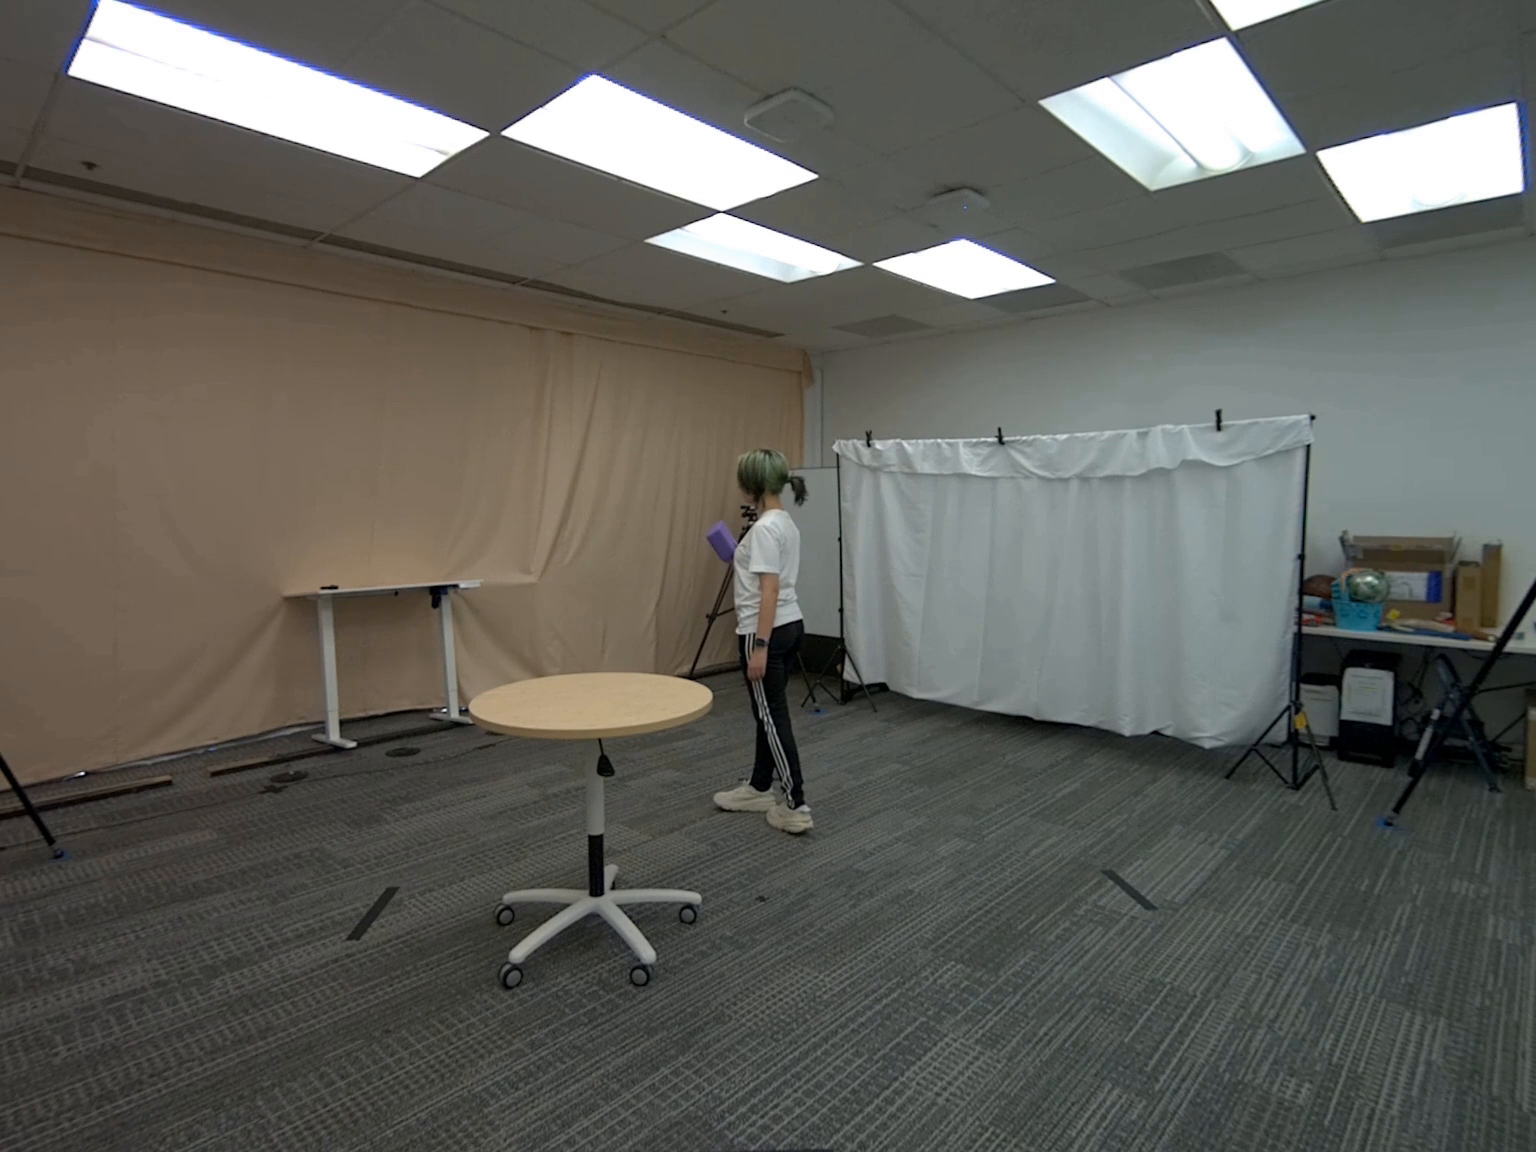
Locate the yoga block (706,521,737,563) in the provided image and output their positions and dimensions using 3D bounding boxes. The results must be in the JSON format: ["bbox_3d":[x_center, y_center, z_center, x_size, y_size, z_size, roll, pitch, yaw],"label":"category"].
[{"bbox_3d":[-0.213,-0.168,4.041,0.077,0.147,0.230,-33,10,9],"label":"yoga block"}]
